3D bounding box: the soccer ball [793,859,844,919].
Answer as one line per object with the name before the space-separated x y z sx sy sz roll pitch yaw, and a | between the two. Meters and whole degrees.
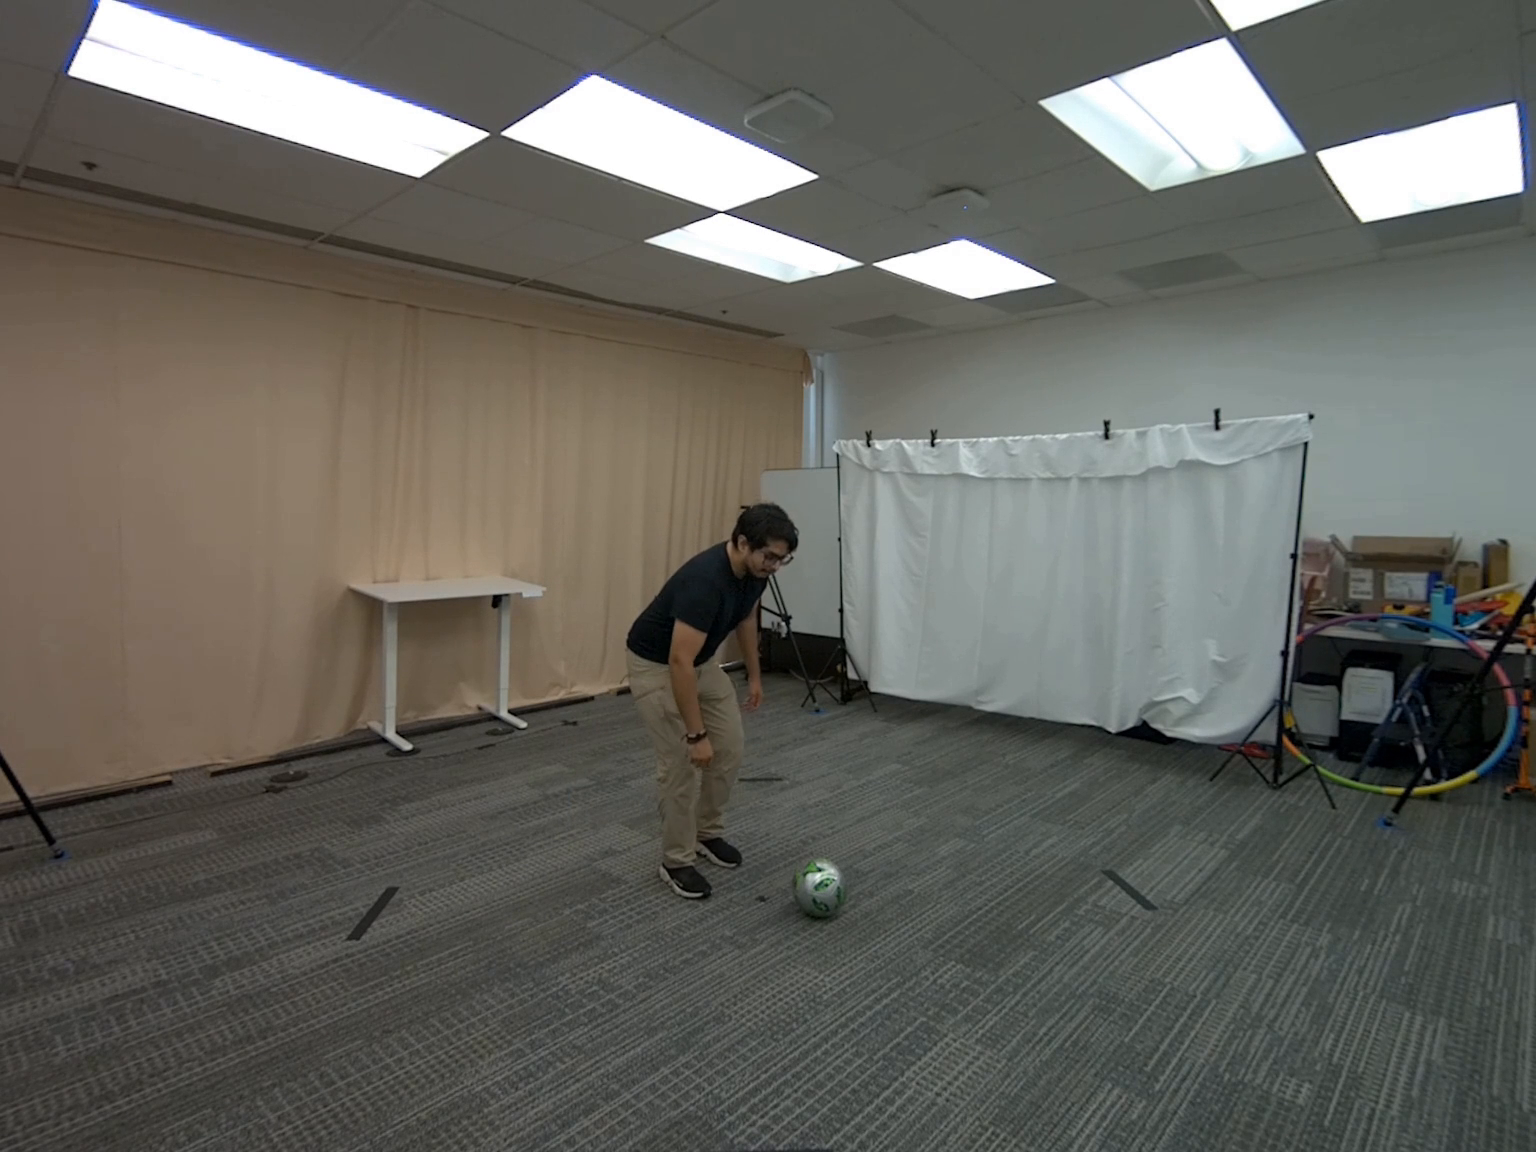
soccer ball | 0.182 1.062 2.865 0.187 0.187 0.188 0 4 -2
